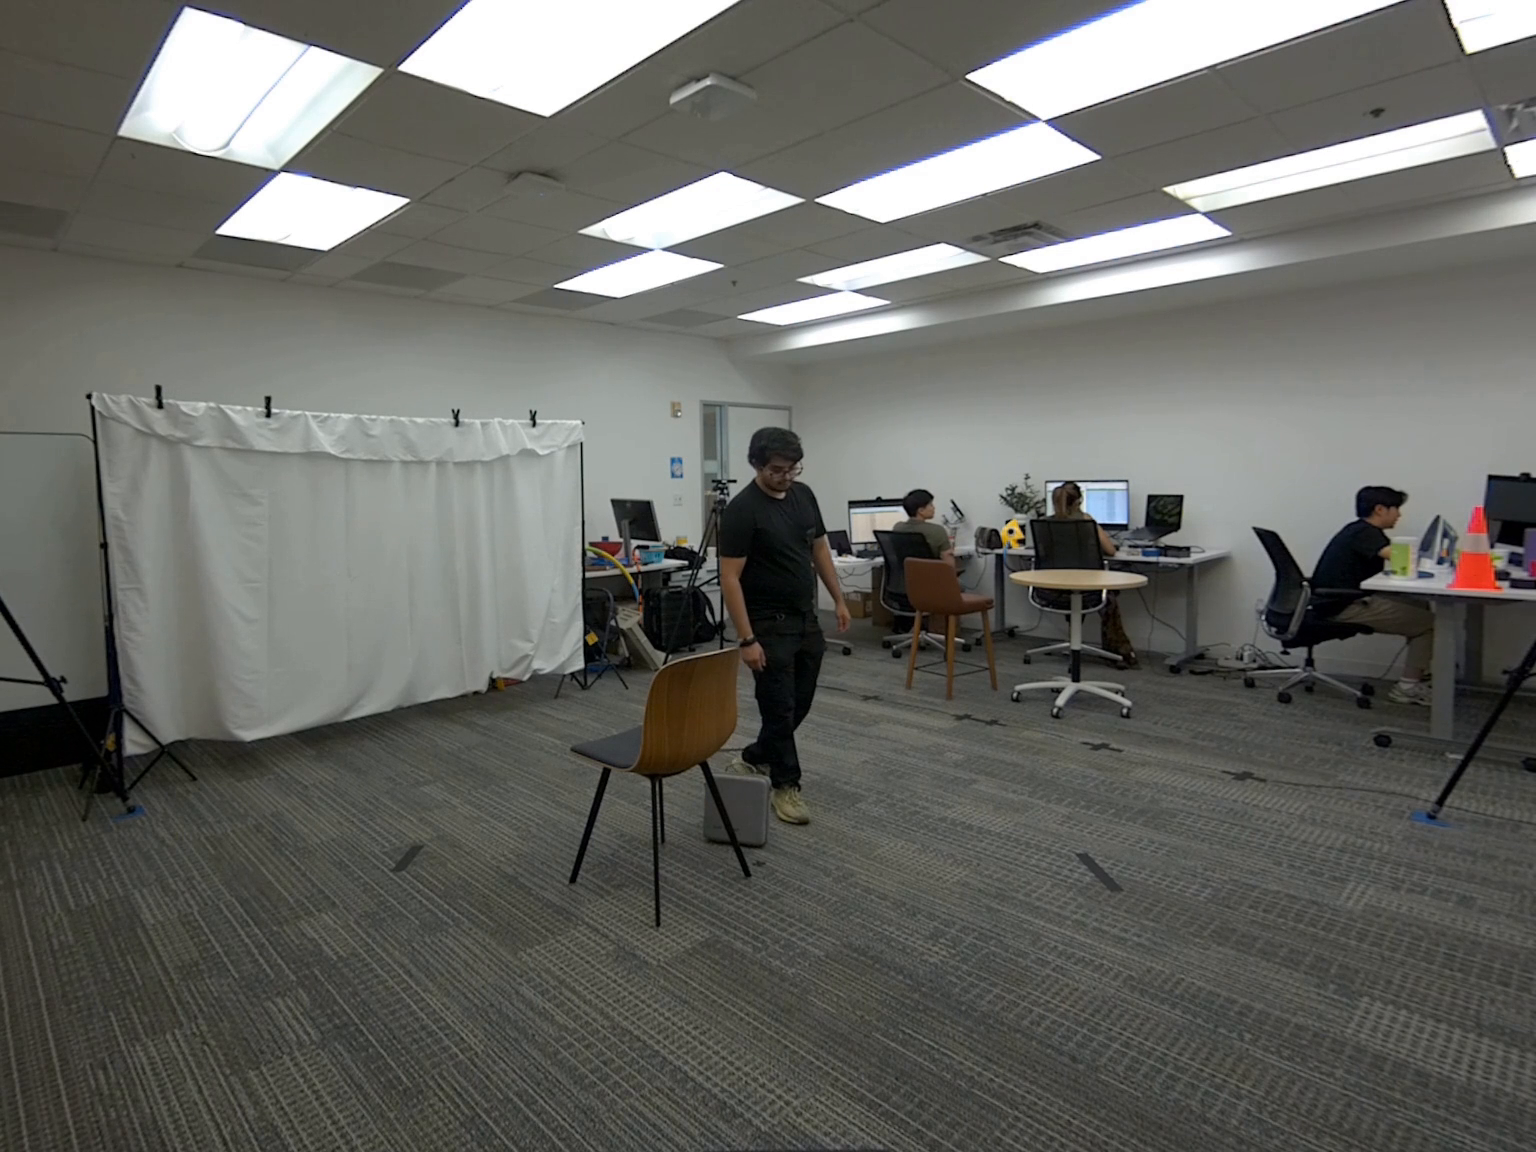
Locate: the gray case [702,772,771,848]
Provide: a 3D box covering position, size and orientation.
[{"bbox_3d":[-0.121,0.887,3.307,0.261,0.261,0.102,2,-4,18],"label":"gray case"}]
